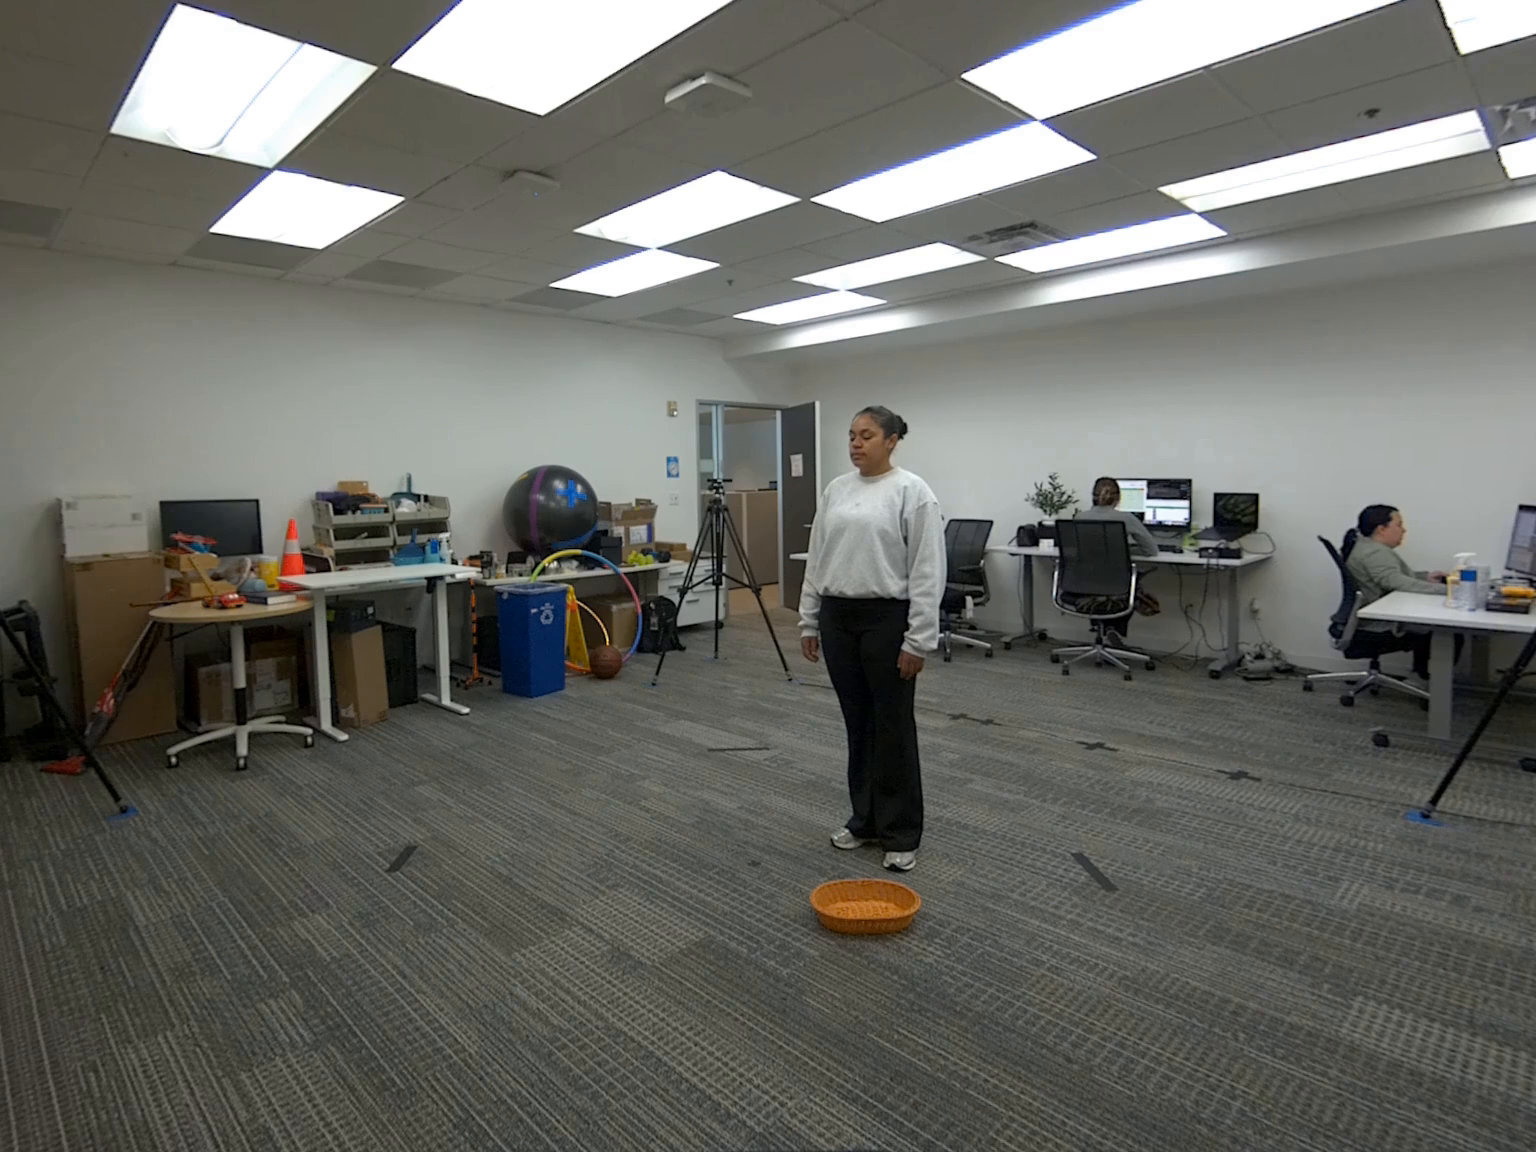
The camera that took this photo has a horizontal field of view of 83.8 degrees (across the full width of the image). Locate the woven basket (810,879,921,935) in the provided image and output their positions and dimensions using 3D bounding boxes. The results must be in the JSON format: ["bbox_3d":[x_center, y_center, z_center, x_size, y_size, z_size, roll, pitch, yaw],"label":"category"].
[{"bbox_3d":[0.302,1.046,2.701,0.351,0.073,0.253,-1,6,2],"label":"woven basket"}]
